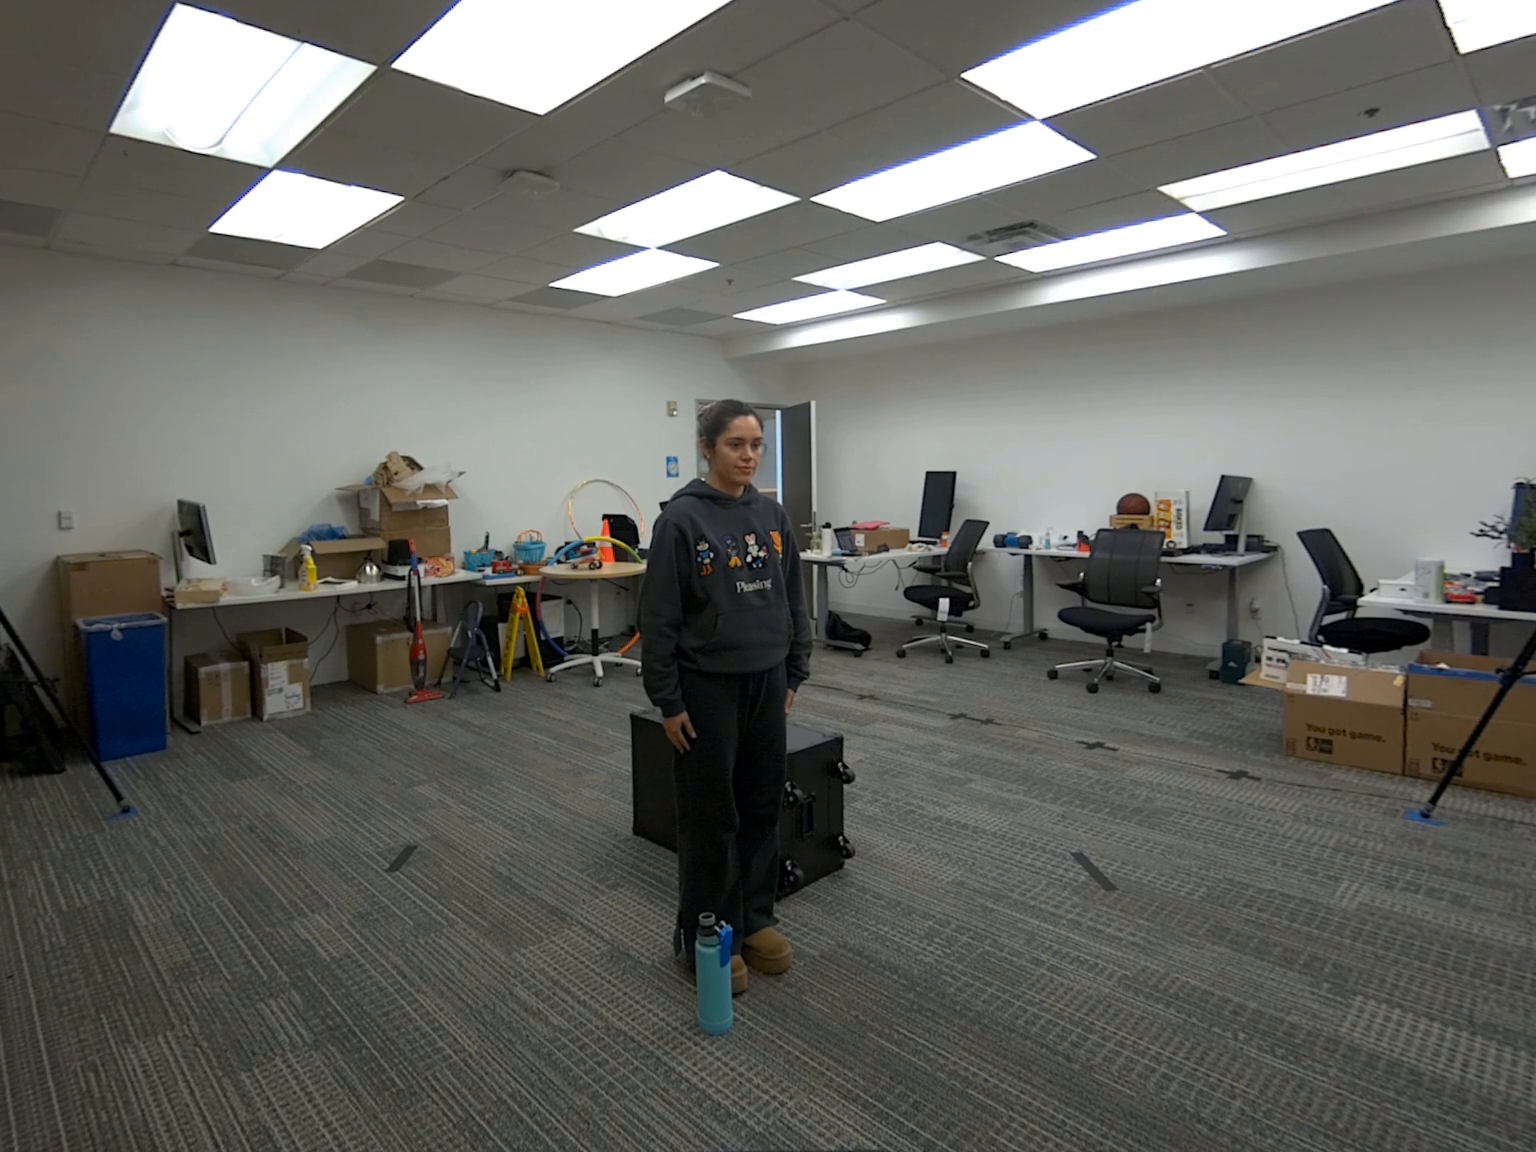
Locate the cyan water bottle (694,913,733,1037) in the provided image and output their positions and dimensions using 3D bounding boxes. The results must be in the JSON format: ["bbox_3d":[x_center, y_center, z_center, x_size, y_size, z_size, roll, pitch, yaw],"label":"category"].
[{"bbox_3d":[-0.135,1.017,2.172,0.092,0.282,0.093,-2,5,-1],"label":"cyan water bottle"}]
